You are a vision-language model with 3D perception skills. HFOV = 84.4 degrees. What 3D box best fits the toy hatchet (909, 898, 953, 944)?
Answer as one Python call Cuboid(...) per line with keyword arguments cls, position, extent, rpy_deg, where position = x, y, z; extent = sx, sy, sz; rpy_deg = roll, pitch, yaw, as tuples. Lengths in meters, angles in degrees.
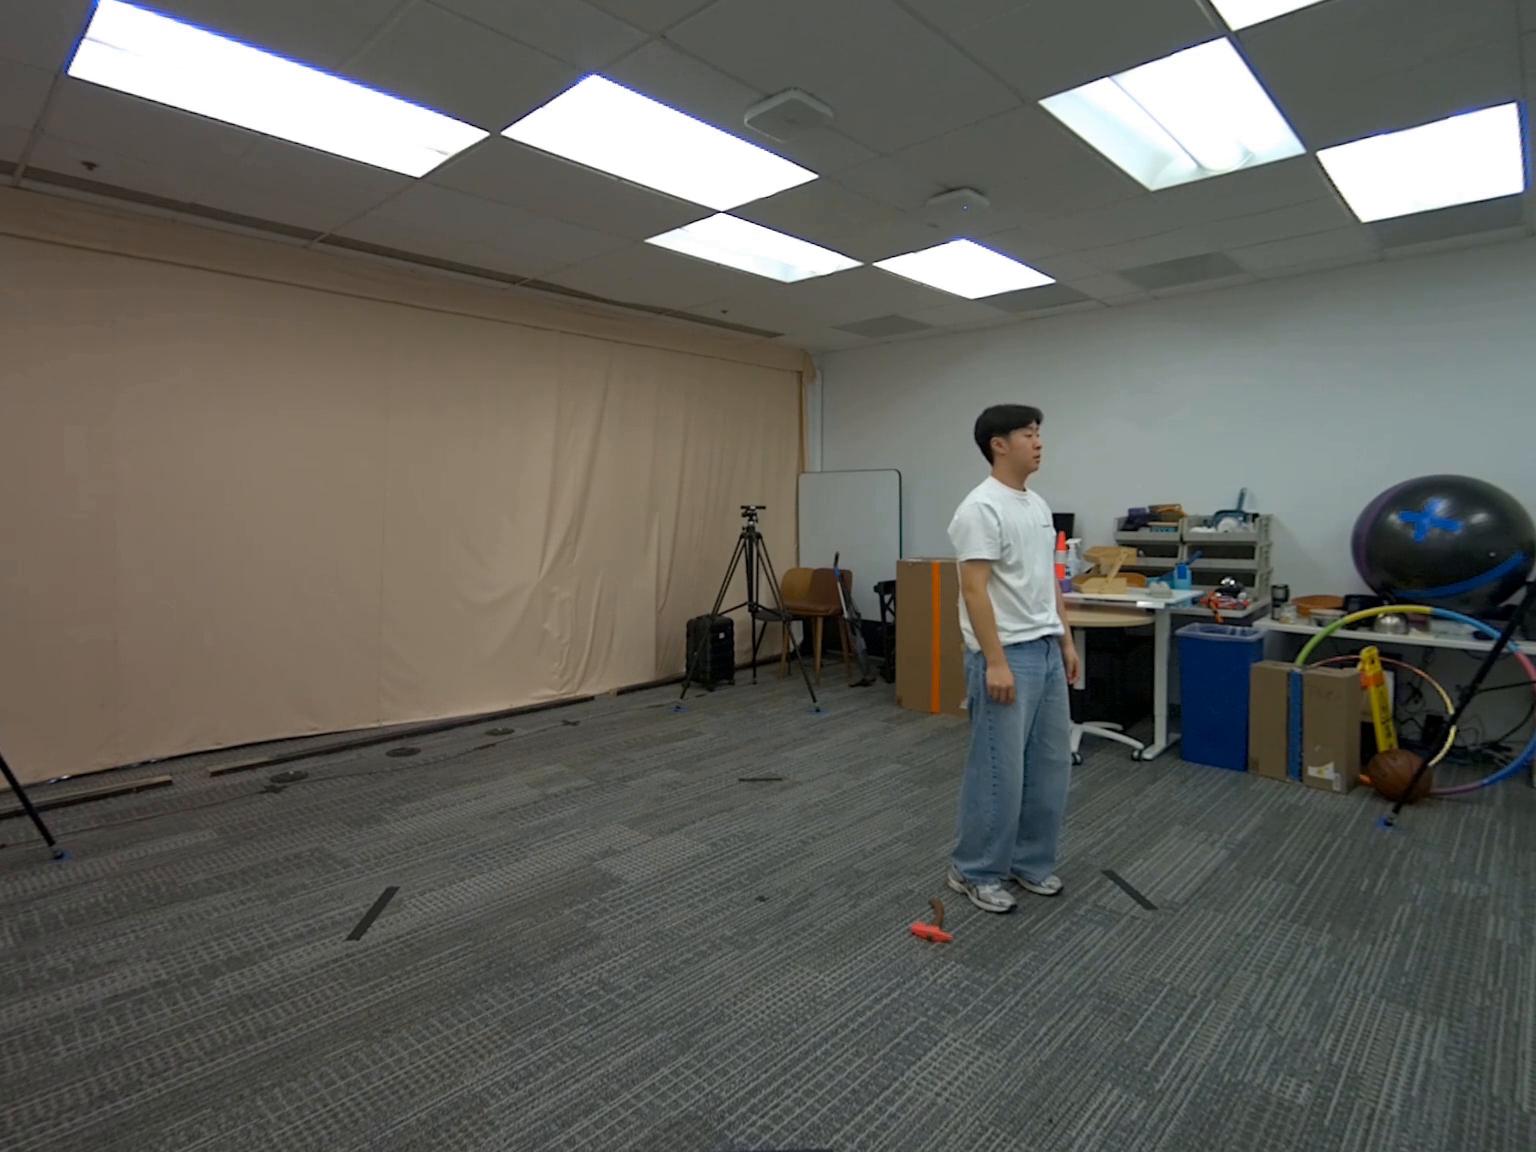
Cuboid(cls="toy hatchet", position=(0.534, 1.147, 2.810), extent=(0.132, 0.029, 0.268), rpy_deg=(0, 3, 4))
